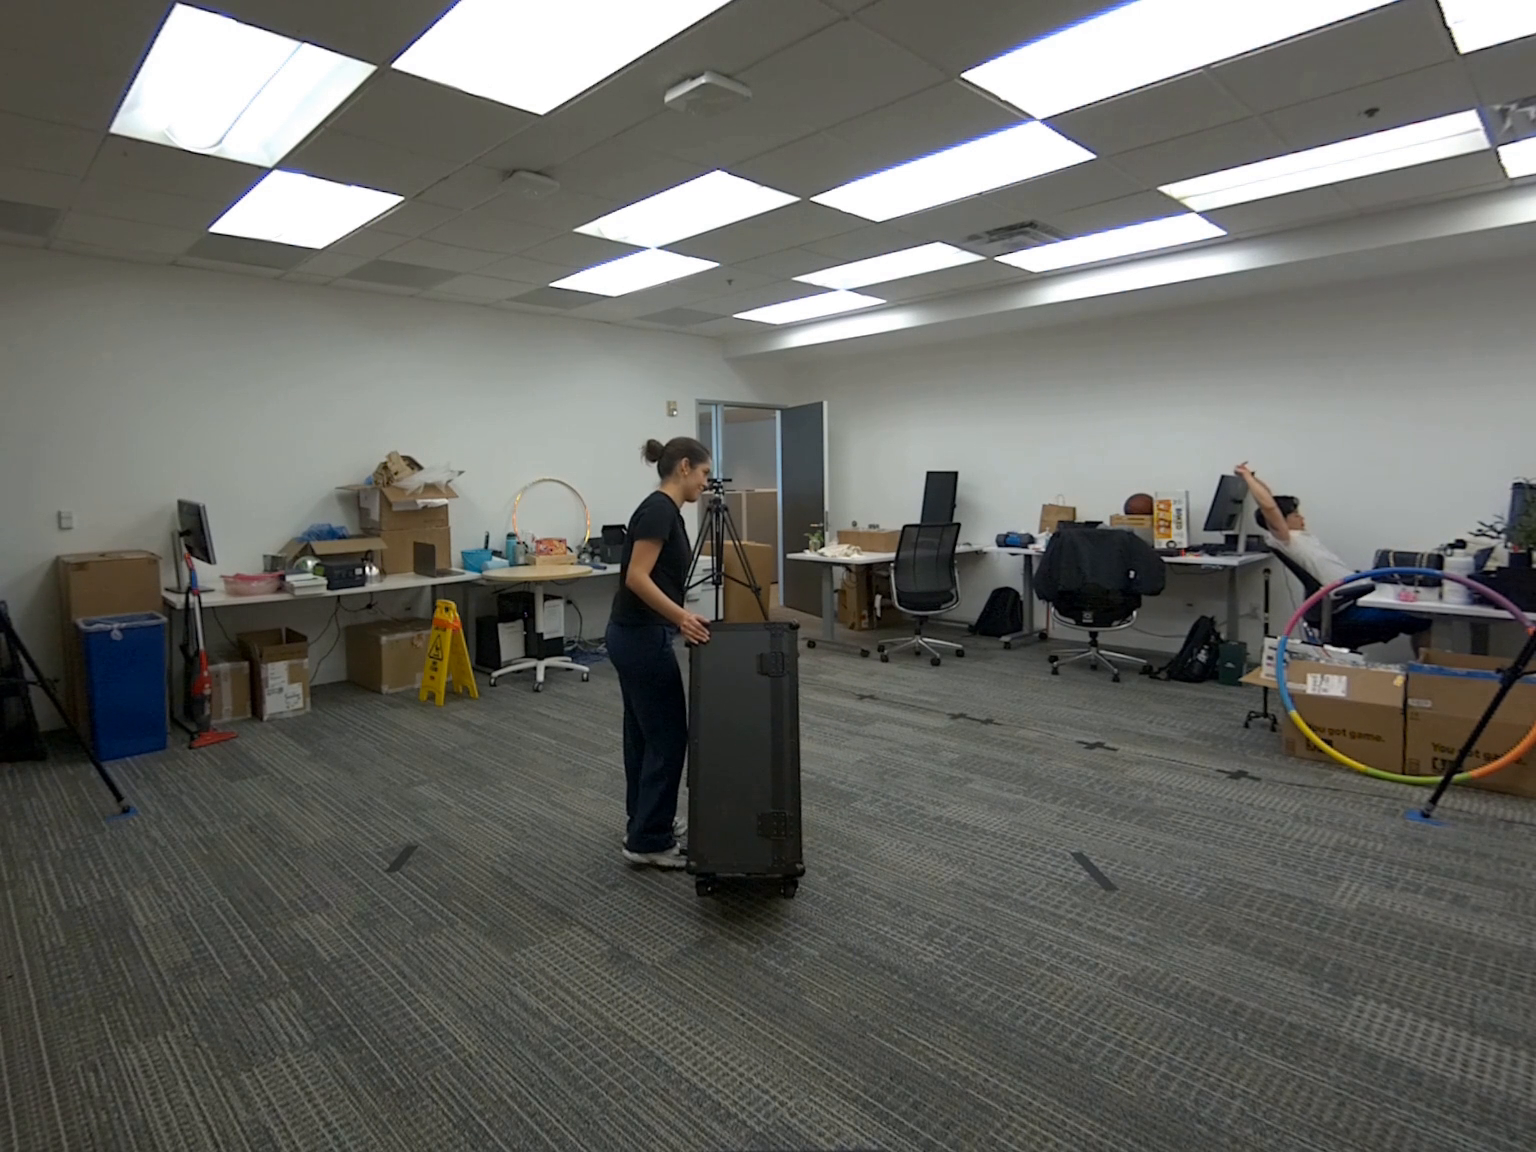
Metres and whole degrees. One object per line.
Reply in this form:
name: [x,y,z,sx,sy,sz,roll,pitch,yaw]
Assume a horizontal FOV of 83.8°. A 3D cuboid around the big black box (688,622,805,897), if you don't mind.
big black box: [-0.076,0.631,2.926,0.398,0.877,0.510,-2,-20,2]
